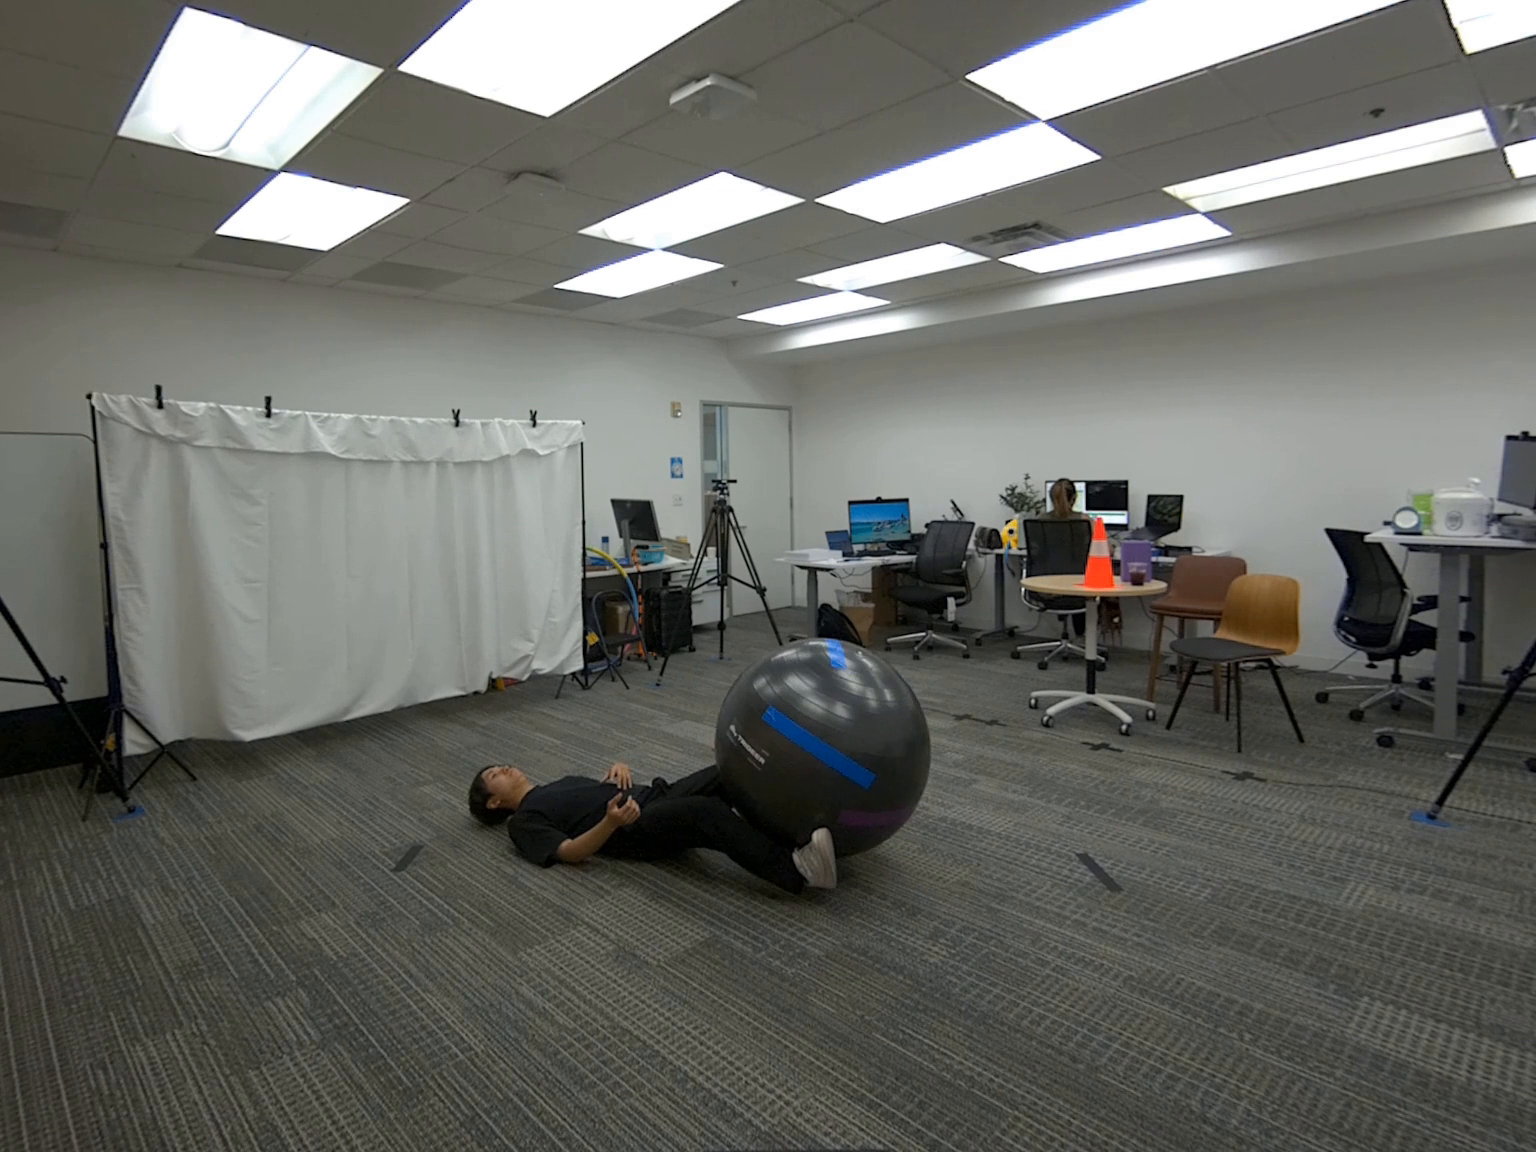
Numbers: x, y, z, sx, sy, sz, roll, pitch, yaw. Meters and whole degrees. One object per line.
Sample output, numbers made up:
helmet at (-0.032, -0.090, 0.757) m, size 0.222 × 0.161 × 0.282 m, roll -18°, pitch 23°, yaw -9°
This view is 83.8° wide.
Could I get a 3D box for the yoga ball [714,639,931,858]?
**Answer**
yoga ball at (0.190, 0.608, 3.056) m, size 0.757 × 0.755 × 0.762 m, roll -1°, pitch 5°, yaw -2°
